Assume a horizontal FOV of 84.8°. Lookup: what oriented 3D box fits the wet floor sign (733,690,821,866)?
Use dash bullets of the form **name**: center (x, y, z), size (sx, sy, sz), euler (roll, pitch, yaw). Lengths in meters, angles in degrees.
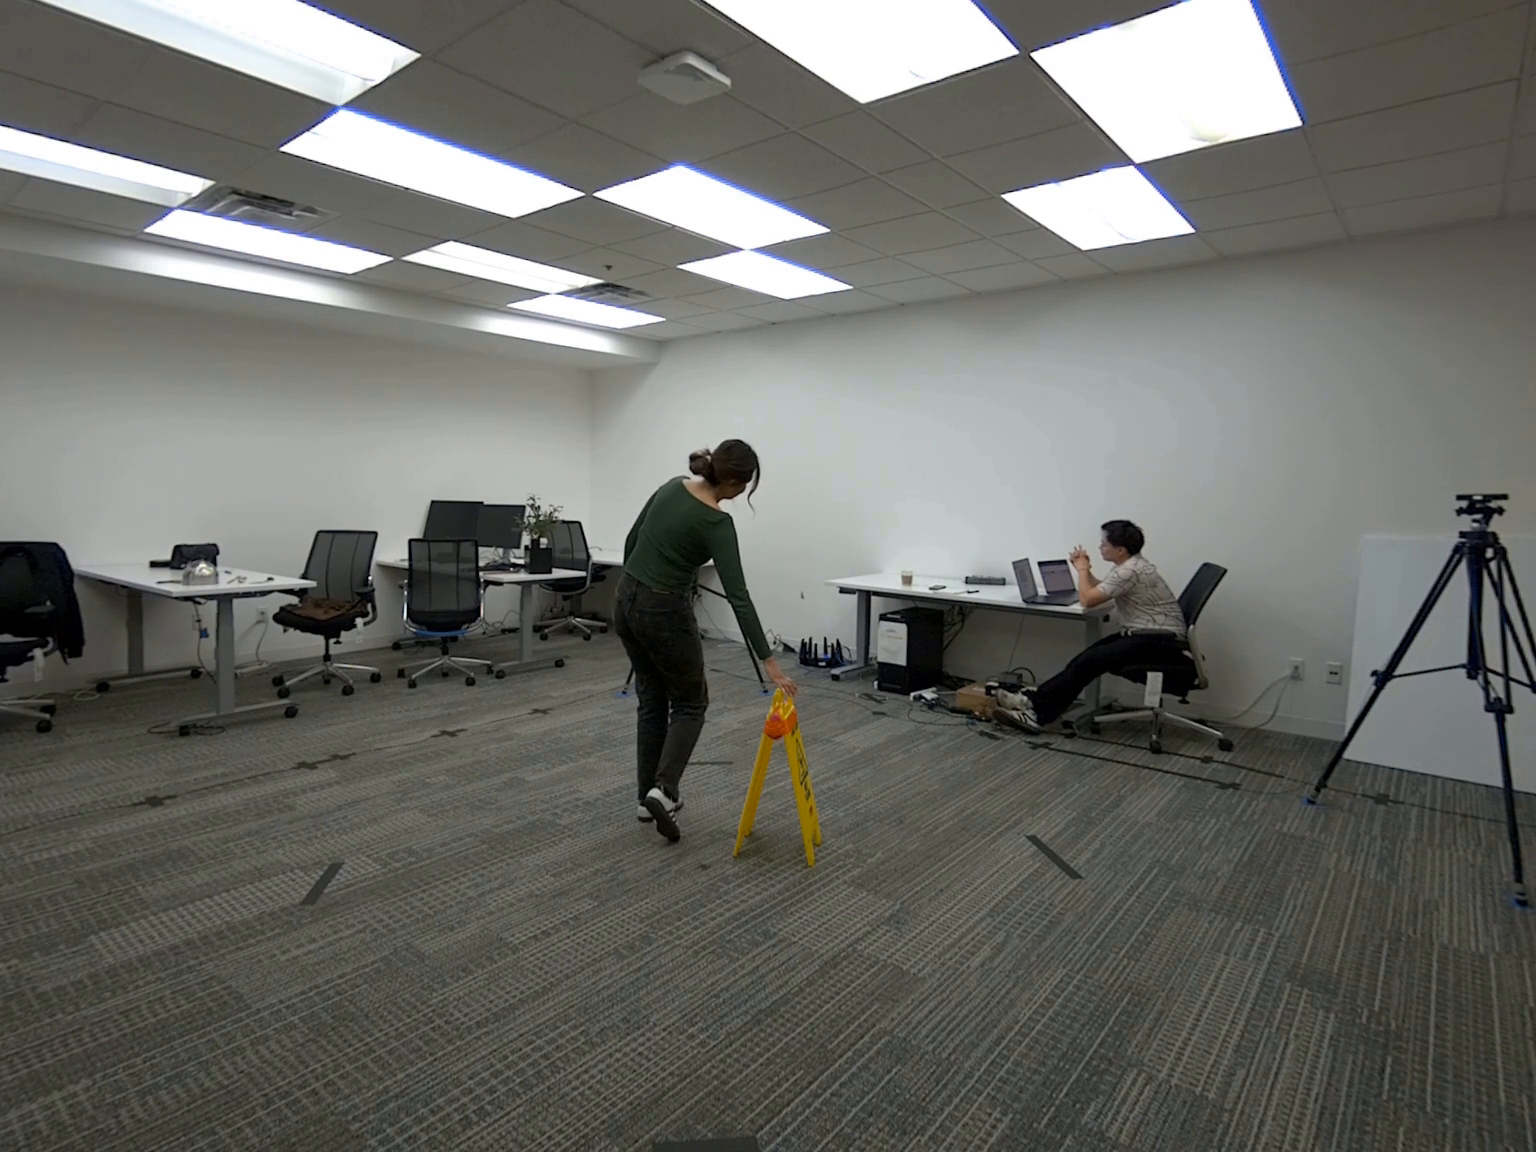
- **wet floor sign**: center (0.036, 0.729, 3.283), size (0.294, 0.645, 0.278), euler (1, 2, 13)
